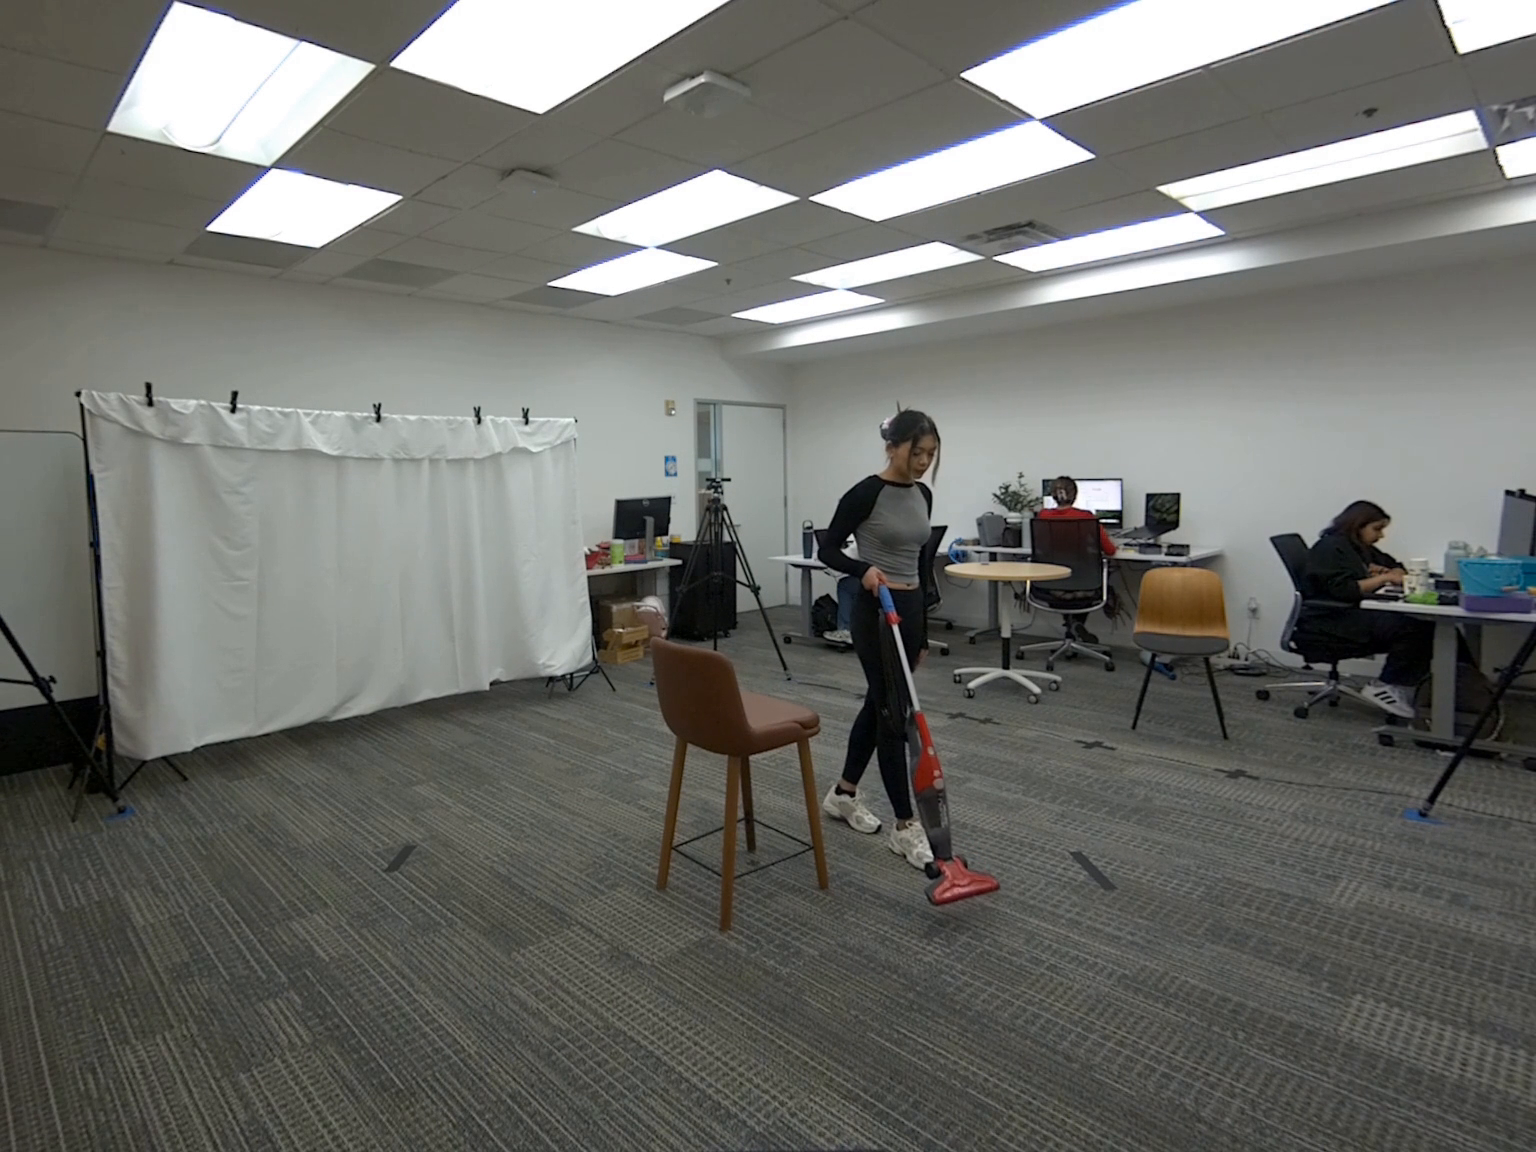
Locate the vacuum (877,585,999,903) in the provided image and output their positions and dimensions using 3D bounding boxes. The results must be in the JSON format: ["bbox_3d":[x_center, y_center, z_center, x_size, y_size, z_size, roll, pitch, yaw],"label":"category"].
[{"bbox_3d":[0.478,0.471,2.852,0.246,1.070,0.145,-3,-21,-33],"label":"vacuum"}]
